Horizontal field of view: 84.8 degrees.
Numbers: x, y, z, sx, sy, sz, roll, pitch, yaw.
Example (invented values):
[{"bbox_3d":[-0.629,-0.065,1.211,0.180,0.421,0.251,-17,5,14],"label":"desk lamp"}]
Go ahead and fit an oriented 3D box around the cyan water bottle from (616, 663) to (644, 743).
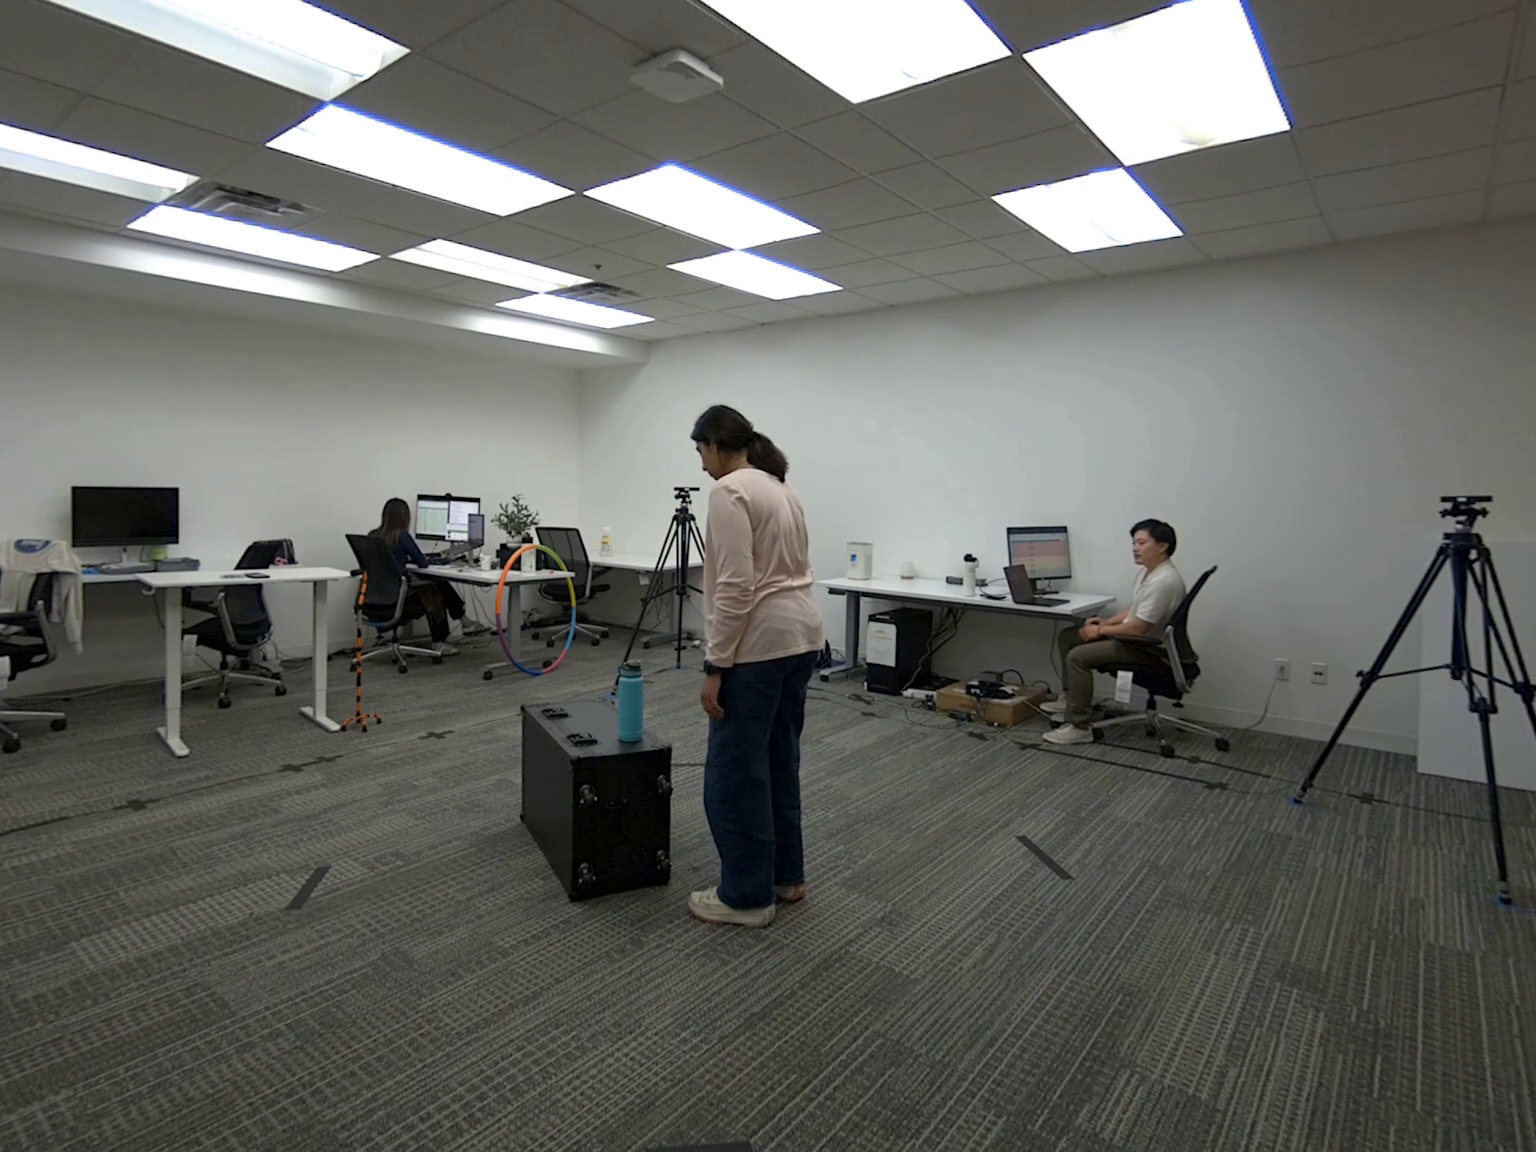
[{"bbox_3d":[-0.510,0.440,3.071,0.092,0.283,0.093,1,3,-2],"label":"cyan water bottle"}]
